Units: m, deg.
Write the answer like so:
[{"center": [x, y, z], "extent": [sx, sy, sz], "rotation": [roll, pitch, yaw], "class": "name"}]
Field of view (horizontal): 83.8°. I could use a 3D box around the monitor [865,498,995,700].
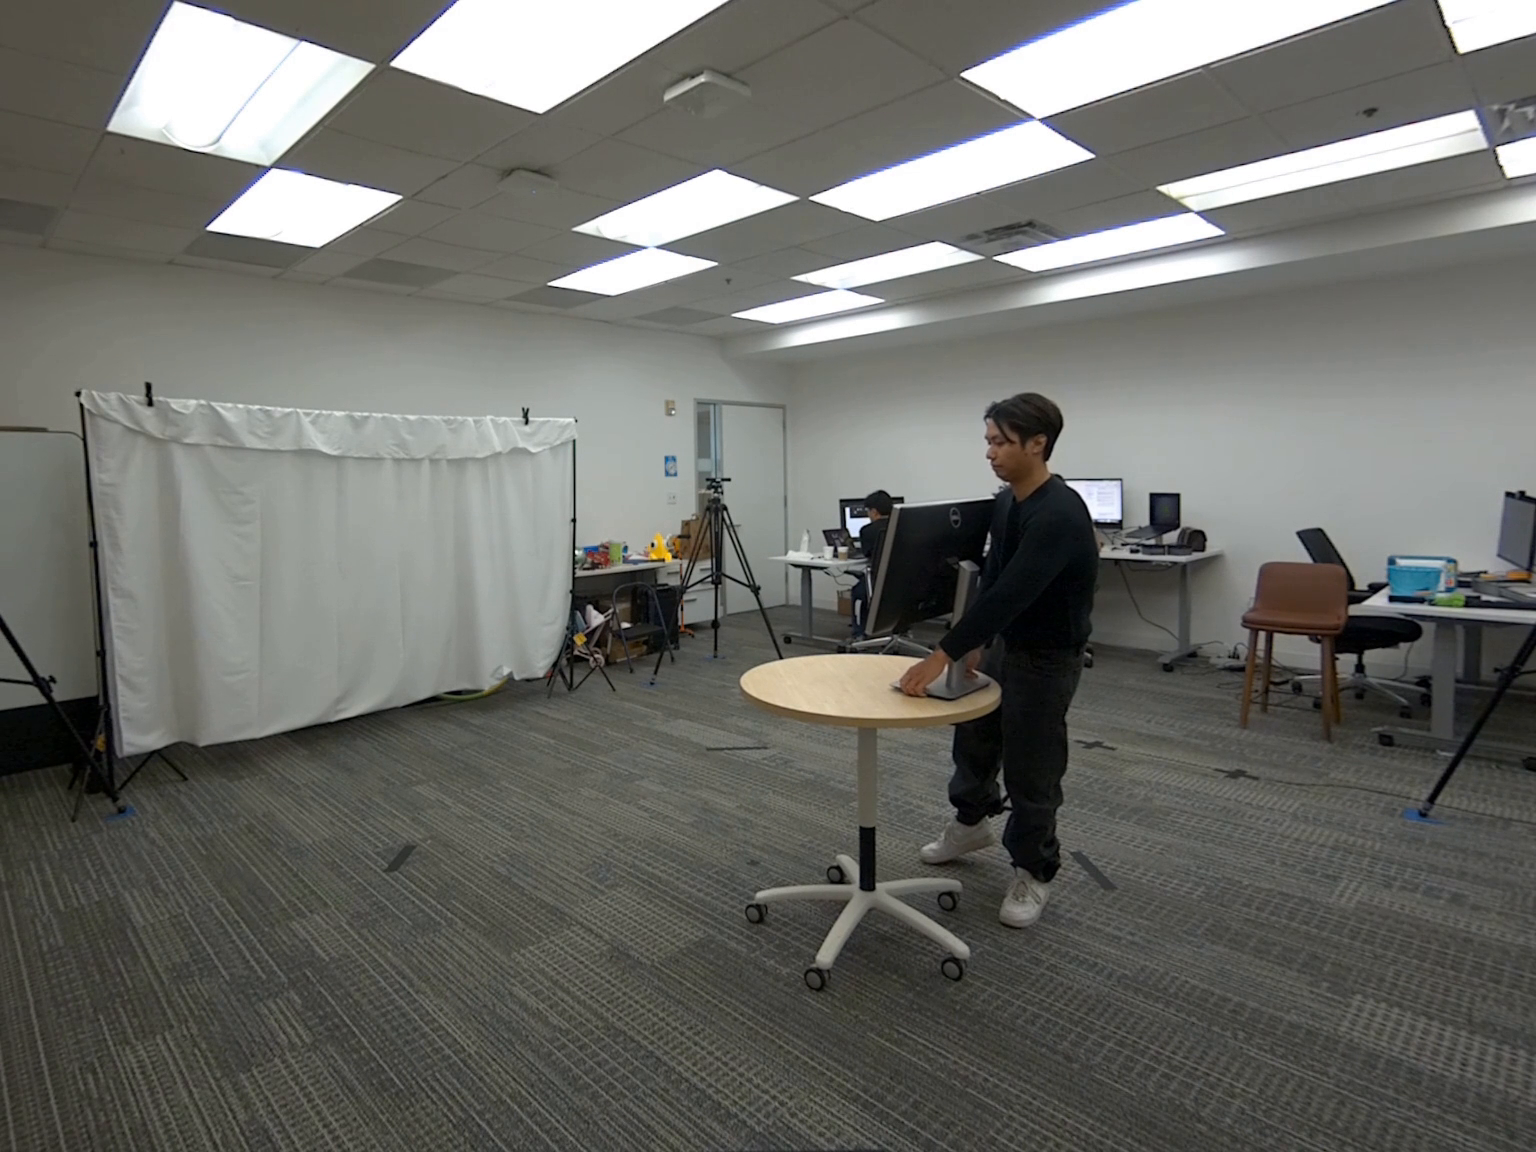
[{"center": [0.504, 0.053, 2.451], "extent": [0.193, 0.520, 0.525], "rotation": [5, 8, 40], "class": "monitor"}]
